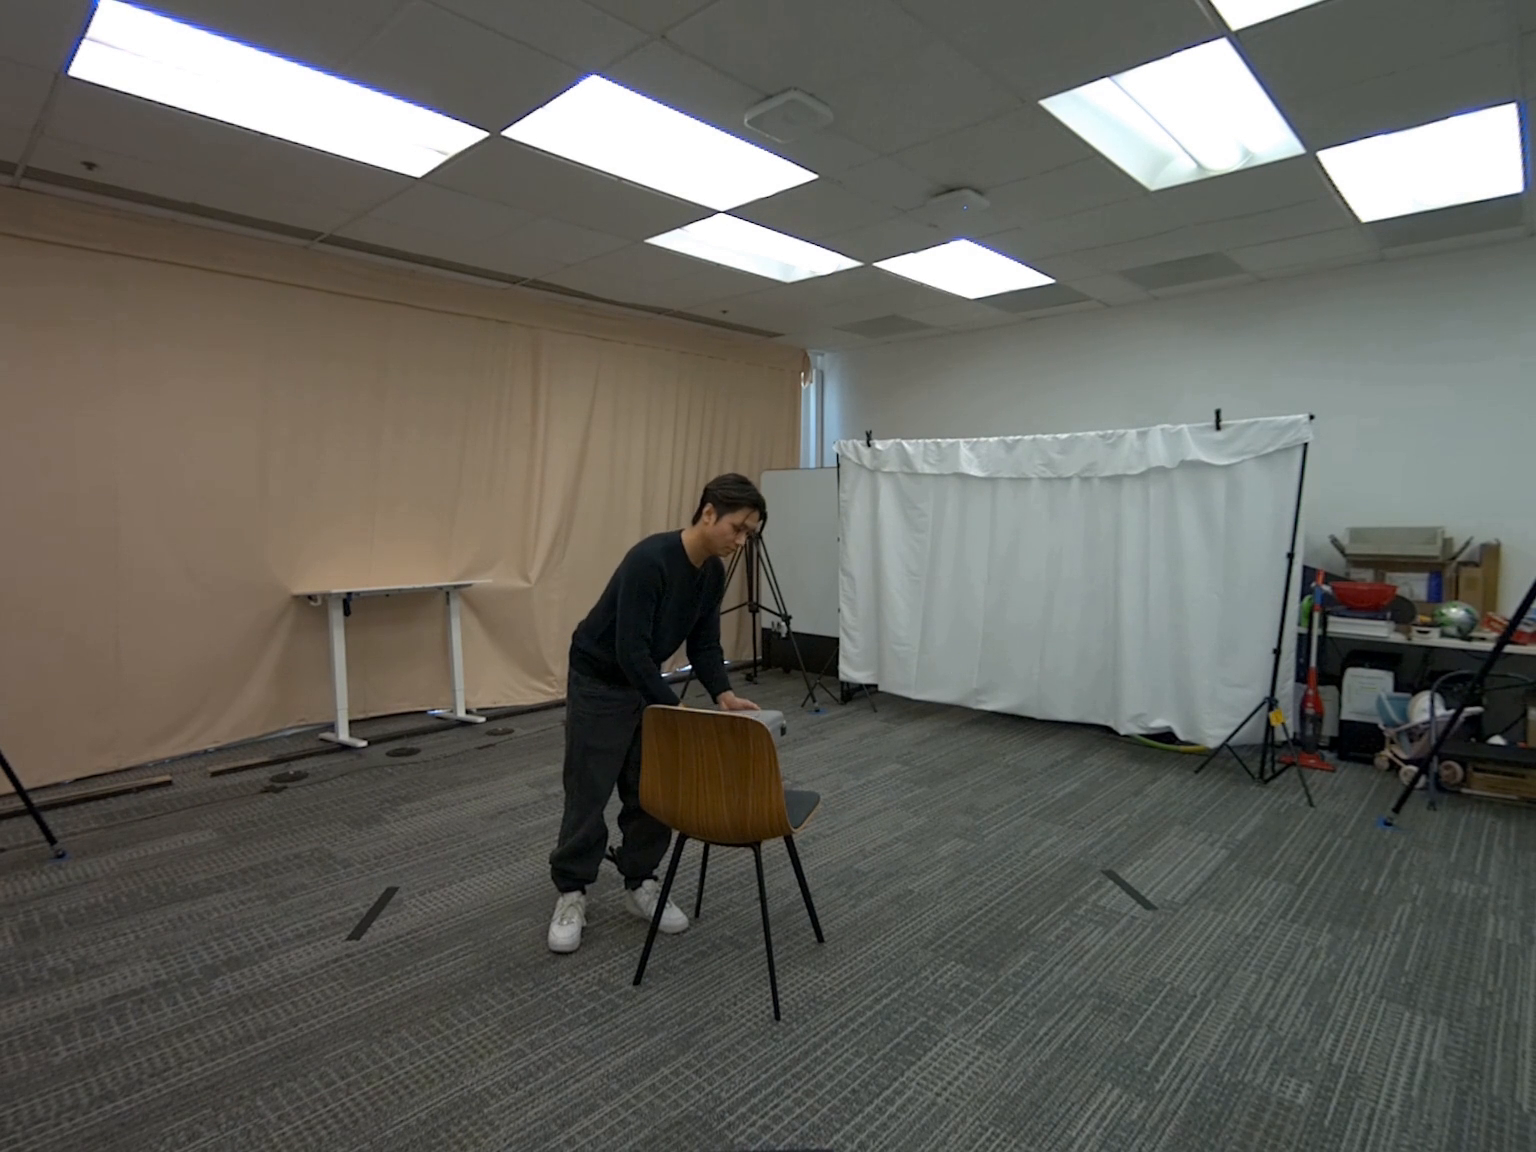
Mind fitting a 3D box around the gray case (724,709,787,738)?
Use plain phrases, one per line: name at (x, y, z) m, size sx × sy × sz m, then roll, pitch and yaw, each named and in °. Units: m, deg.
gray case at (-0.105, 0.478, 2.599) m, size 0.265 × 0.104 × 0.253 m, roll -6°, pitch 3°, yaw 15°
